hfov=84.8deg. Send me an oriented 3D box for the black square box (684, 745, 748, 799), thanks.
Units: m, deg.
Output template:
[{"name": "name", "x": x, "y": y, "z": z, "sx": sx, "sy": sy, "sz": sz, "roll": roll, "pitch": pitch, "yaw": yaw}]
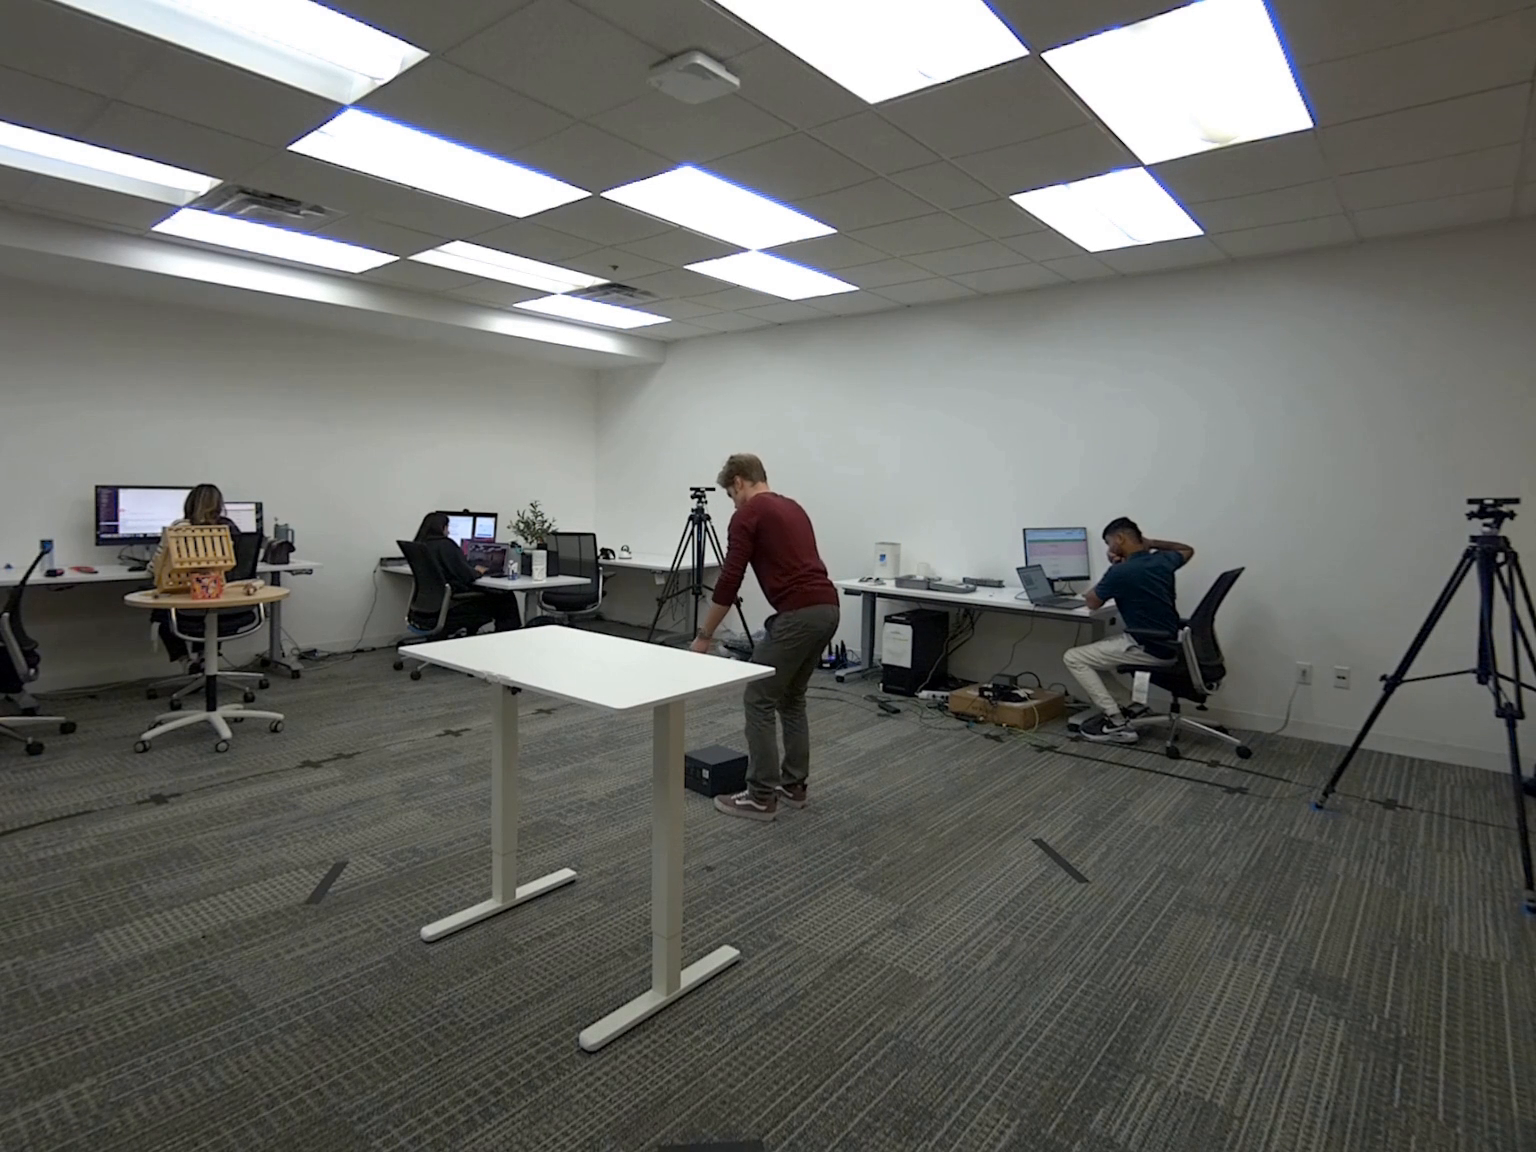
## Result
[{"name": "black square box", "x": -0.256, "y": 0.897, "z": 3.960, "sx": 0.221, "sy": 0.155, "sz": 0.224, "roll": -4, "pitch": 6, "yaw": -44}]
